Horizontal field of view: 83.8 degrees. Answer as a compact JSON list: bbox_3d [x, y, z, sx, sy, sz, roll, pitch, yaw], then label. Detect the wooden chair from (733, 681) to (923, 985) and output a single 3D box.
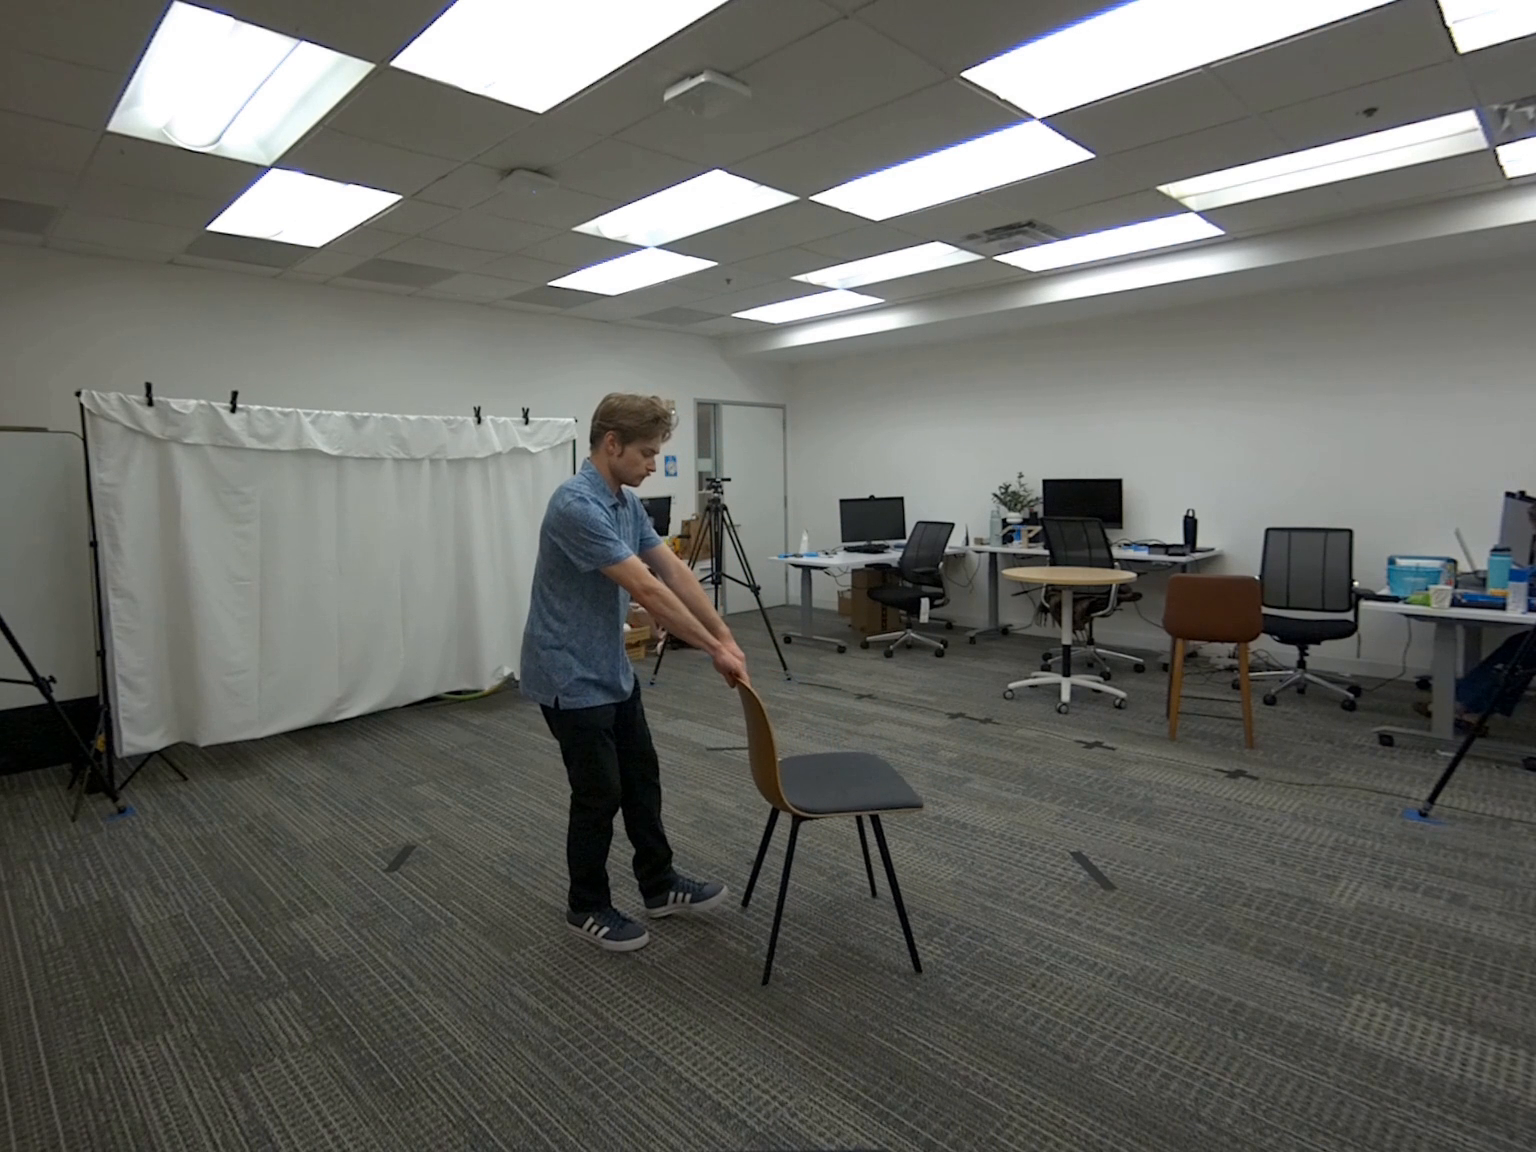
[{"bbox_3d":[0.170,0.668,2.575,0.520,0.874,0.483,-6,4,-8],"label":"wooden chair"}]
